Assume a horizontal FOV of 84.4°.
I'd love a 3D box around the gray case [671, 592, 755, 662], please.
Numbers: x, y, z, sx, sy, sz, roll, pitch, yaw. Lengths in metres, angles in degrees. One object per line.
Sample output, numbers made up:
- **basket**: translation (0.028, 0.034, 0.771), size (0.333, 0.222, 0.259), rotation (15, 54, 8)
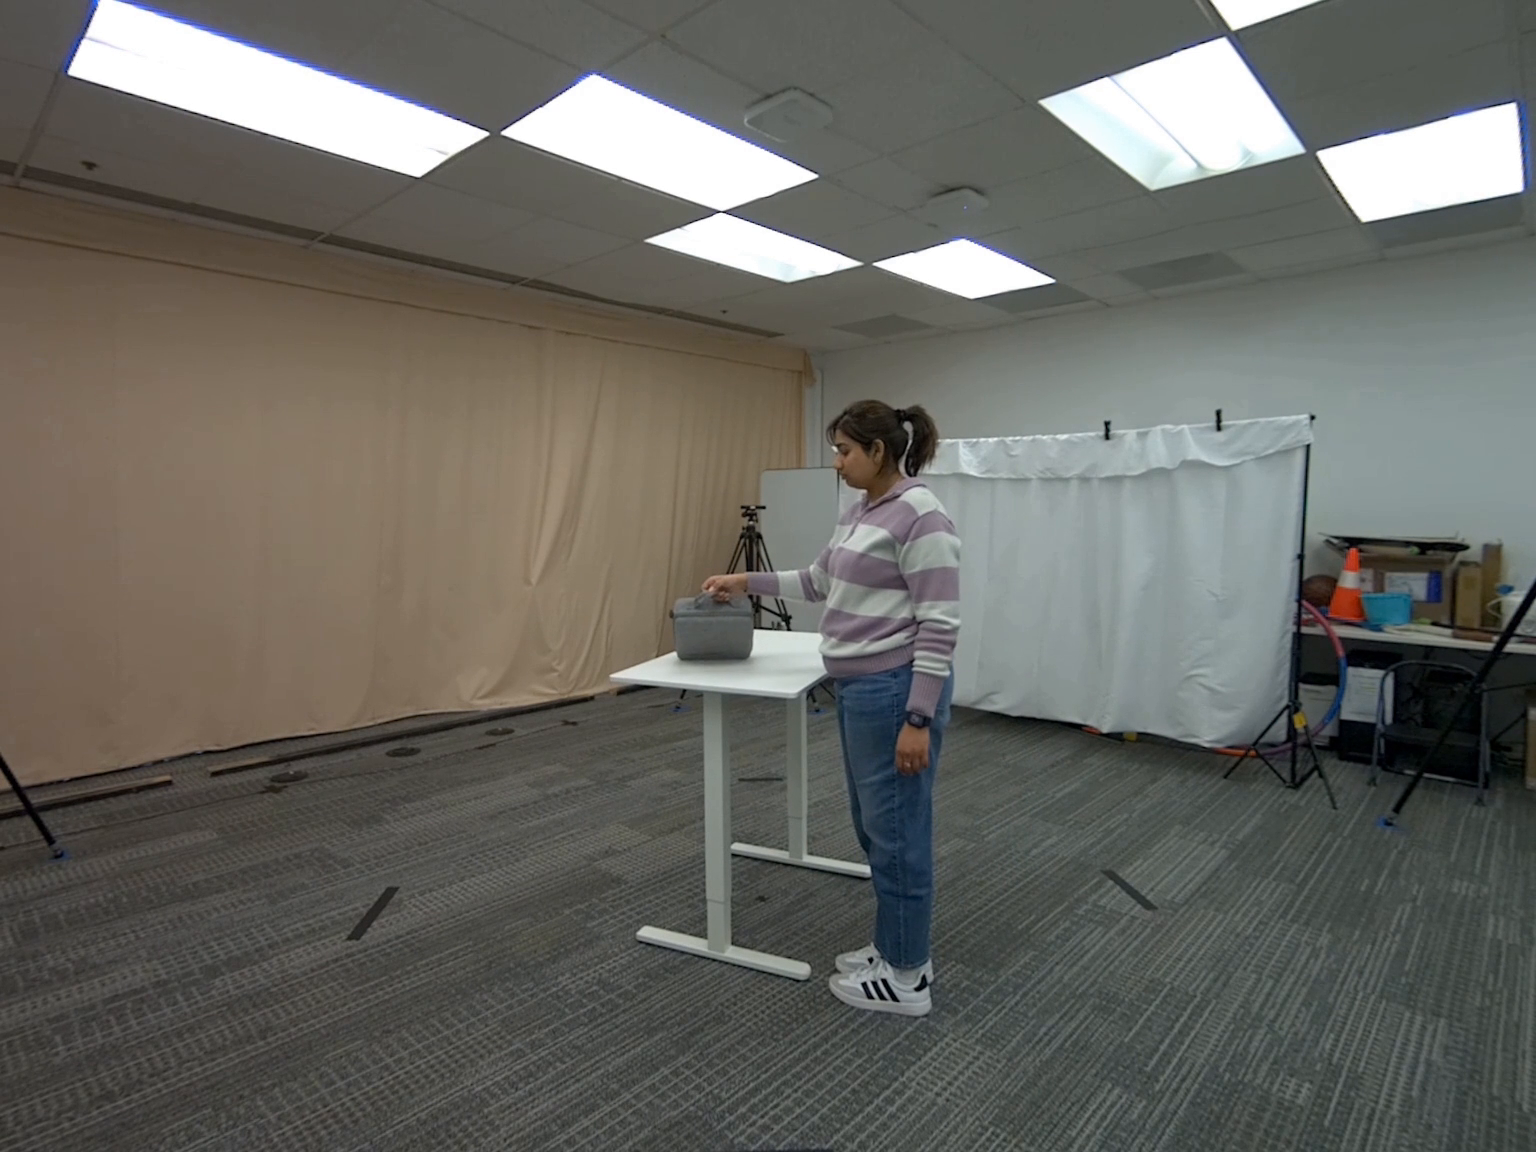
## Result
- **gray case**: translation (-0.181, 0.171, 2.732), size (0.257, 0.106, 0.256), rotation (1, -37, 0)
